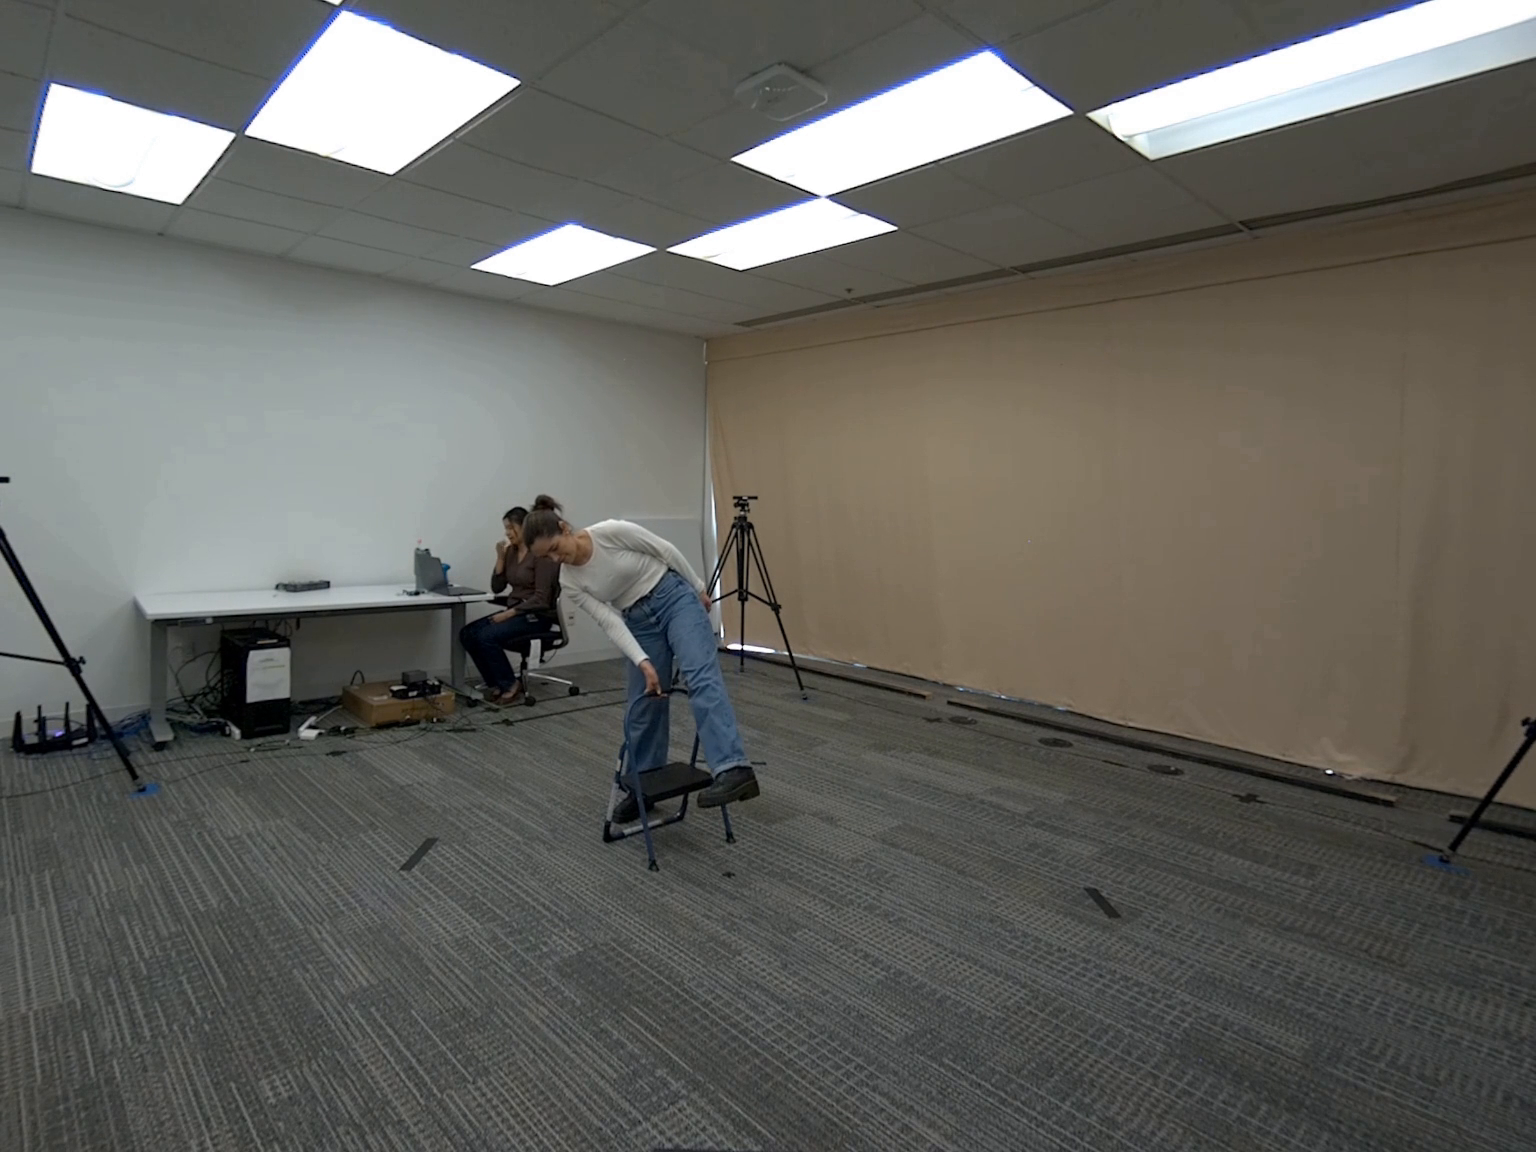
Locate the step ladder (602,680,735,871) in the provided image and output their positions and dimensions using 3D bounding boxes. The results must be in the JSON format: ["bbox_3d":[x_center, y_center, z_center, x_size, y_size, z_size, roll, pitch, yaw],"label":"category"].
[{"bbox_3d":[-0.398,0.773,3.370,0.358,0.604,0.421,5,6,45],"label":"step ladder"}]
